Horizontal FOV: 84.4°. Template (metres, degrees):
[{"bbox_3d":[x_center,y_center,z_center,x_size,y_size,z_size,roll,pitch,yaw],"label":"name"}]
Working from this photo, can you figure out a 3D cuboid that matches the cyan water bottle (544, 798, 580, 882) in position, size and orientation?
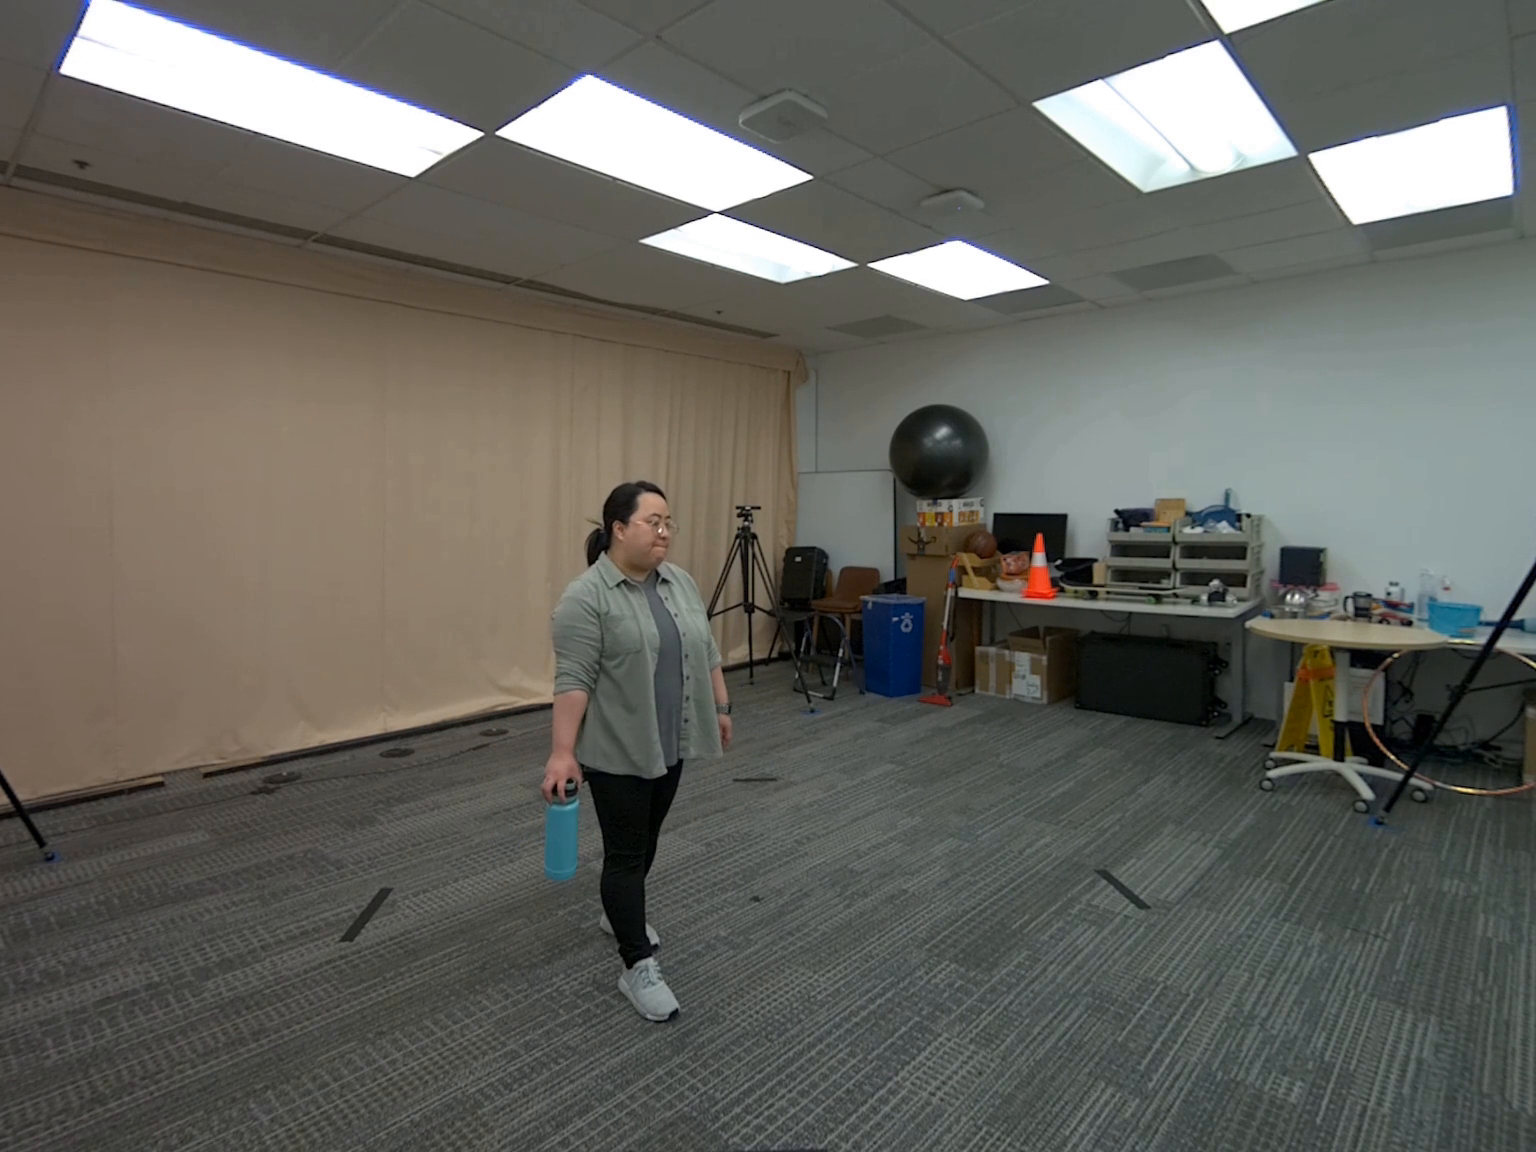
[{"bbox_3d":[-0.557,0.681,2.297,0.092,0.281,0.093,2,11,-2],"label":"cyan water bottle"}]
